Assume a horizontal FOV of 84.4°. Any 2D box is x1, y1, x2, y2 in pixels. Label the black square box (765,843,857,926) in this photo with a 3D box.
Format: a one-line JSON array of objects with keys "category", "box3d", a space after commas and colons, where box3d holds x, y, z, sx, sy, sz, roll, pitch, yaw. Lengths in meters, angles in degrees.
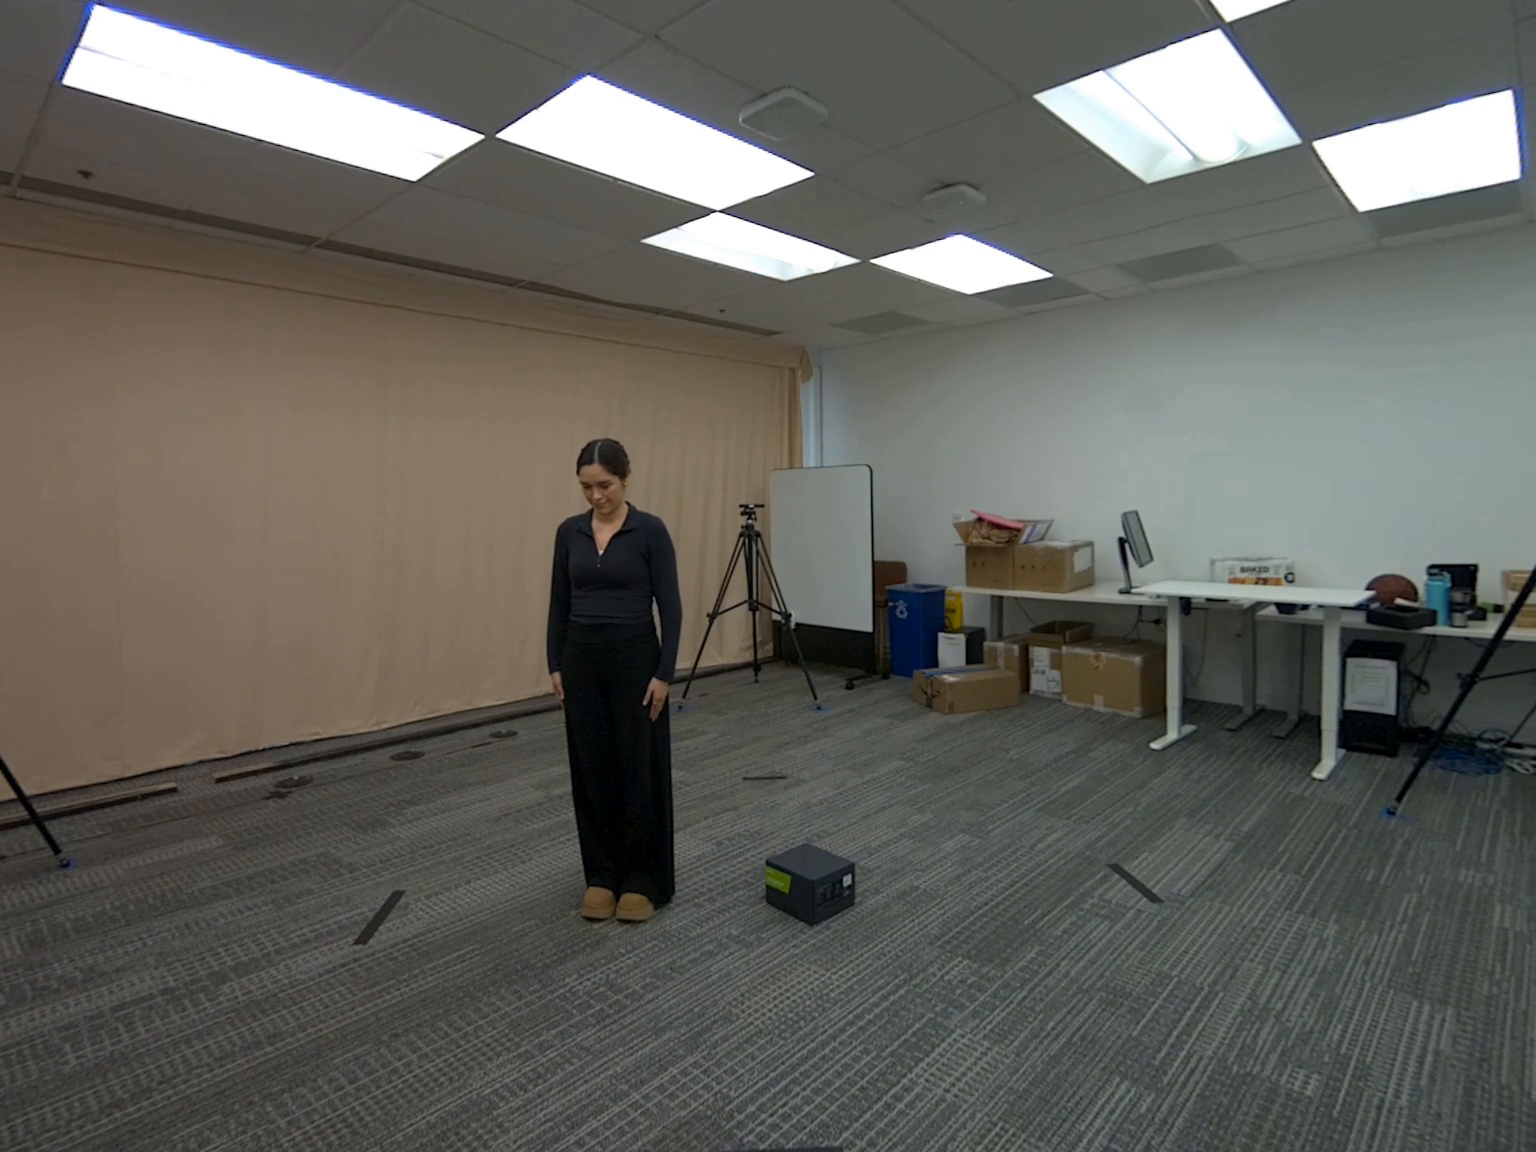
[{"category": "black square box", "box3d": [0.149, 1.062, 2.912, 0.210, 0.155, 0.235, -5, 7, -43]}]
